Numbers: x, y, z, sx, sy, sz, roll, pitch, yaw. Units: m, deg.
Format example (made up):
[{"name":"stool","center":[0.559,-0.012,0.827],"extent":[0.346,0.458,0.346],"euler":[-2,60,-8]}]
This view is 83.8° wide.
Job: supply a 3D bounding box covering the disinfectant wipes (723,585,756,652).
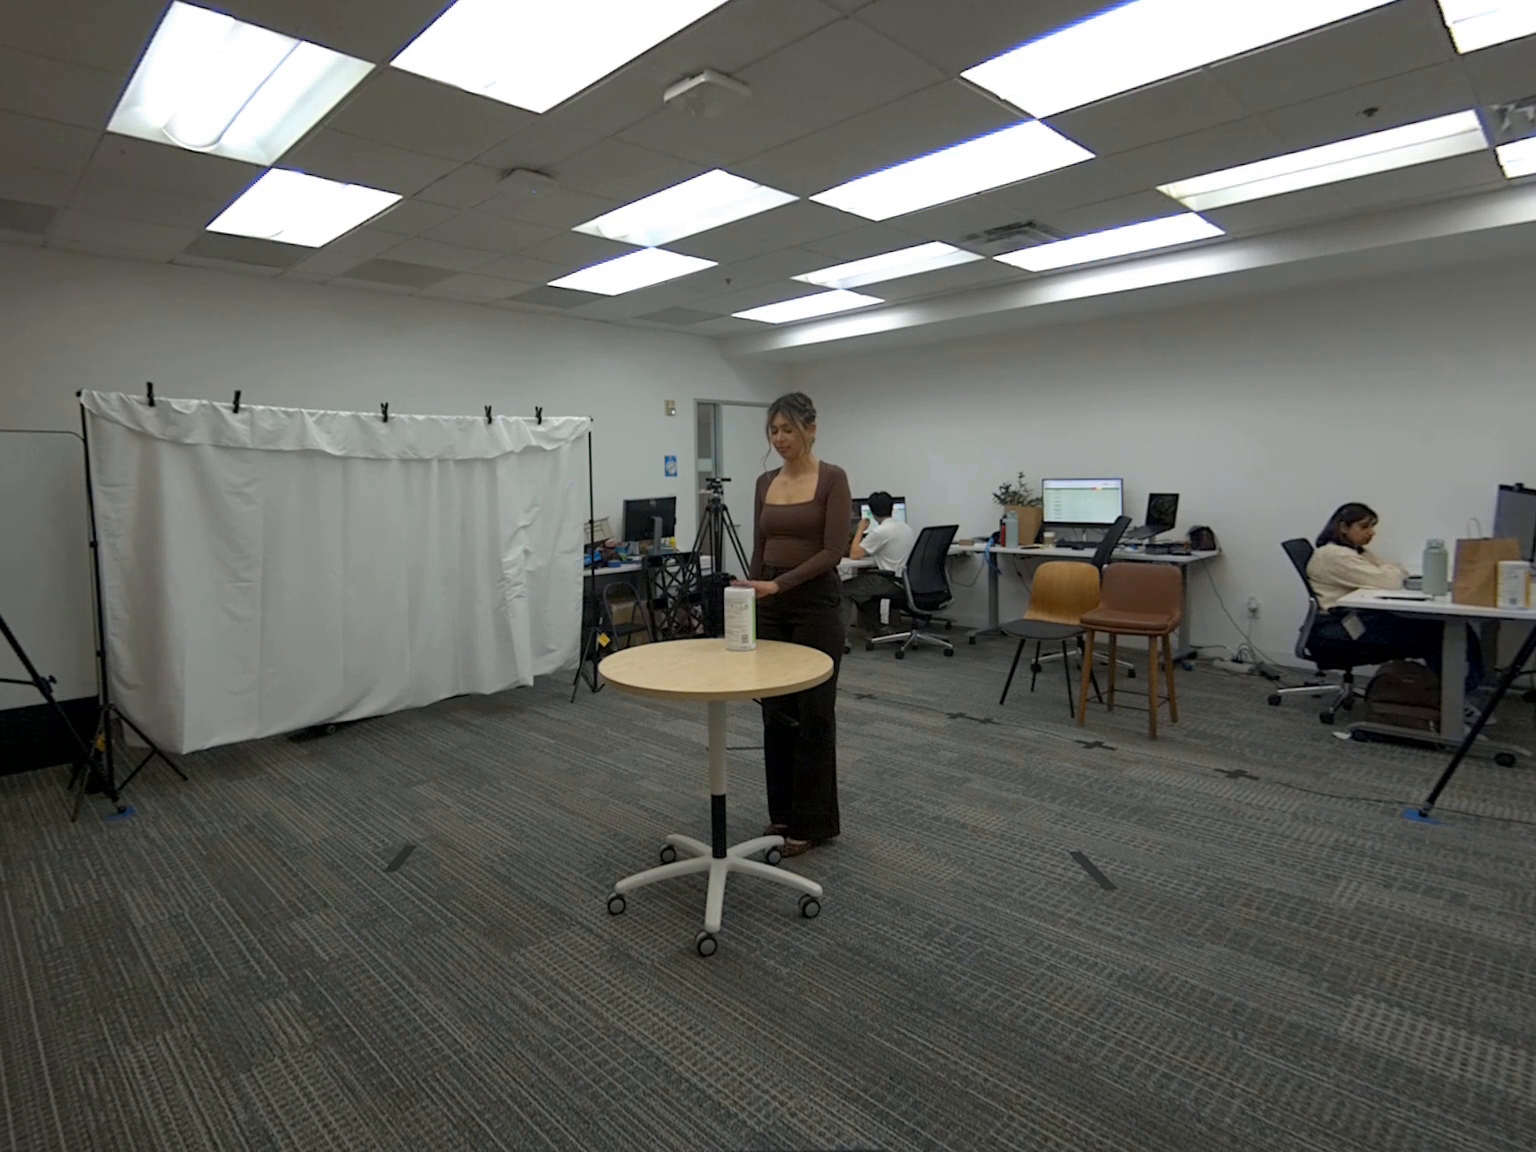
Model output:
[{"name":"disinfectant wipes","center":[-0.101,0.148,3.003],"extent":[0.118,0.217,0.118],"euler":[0,2,-2]}]
